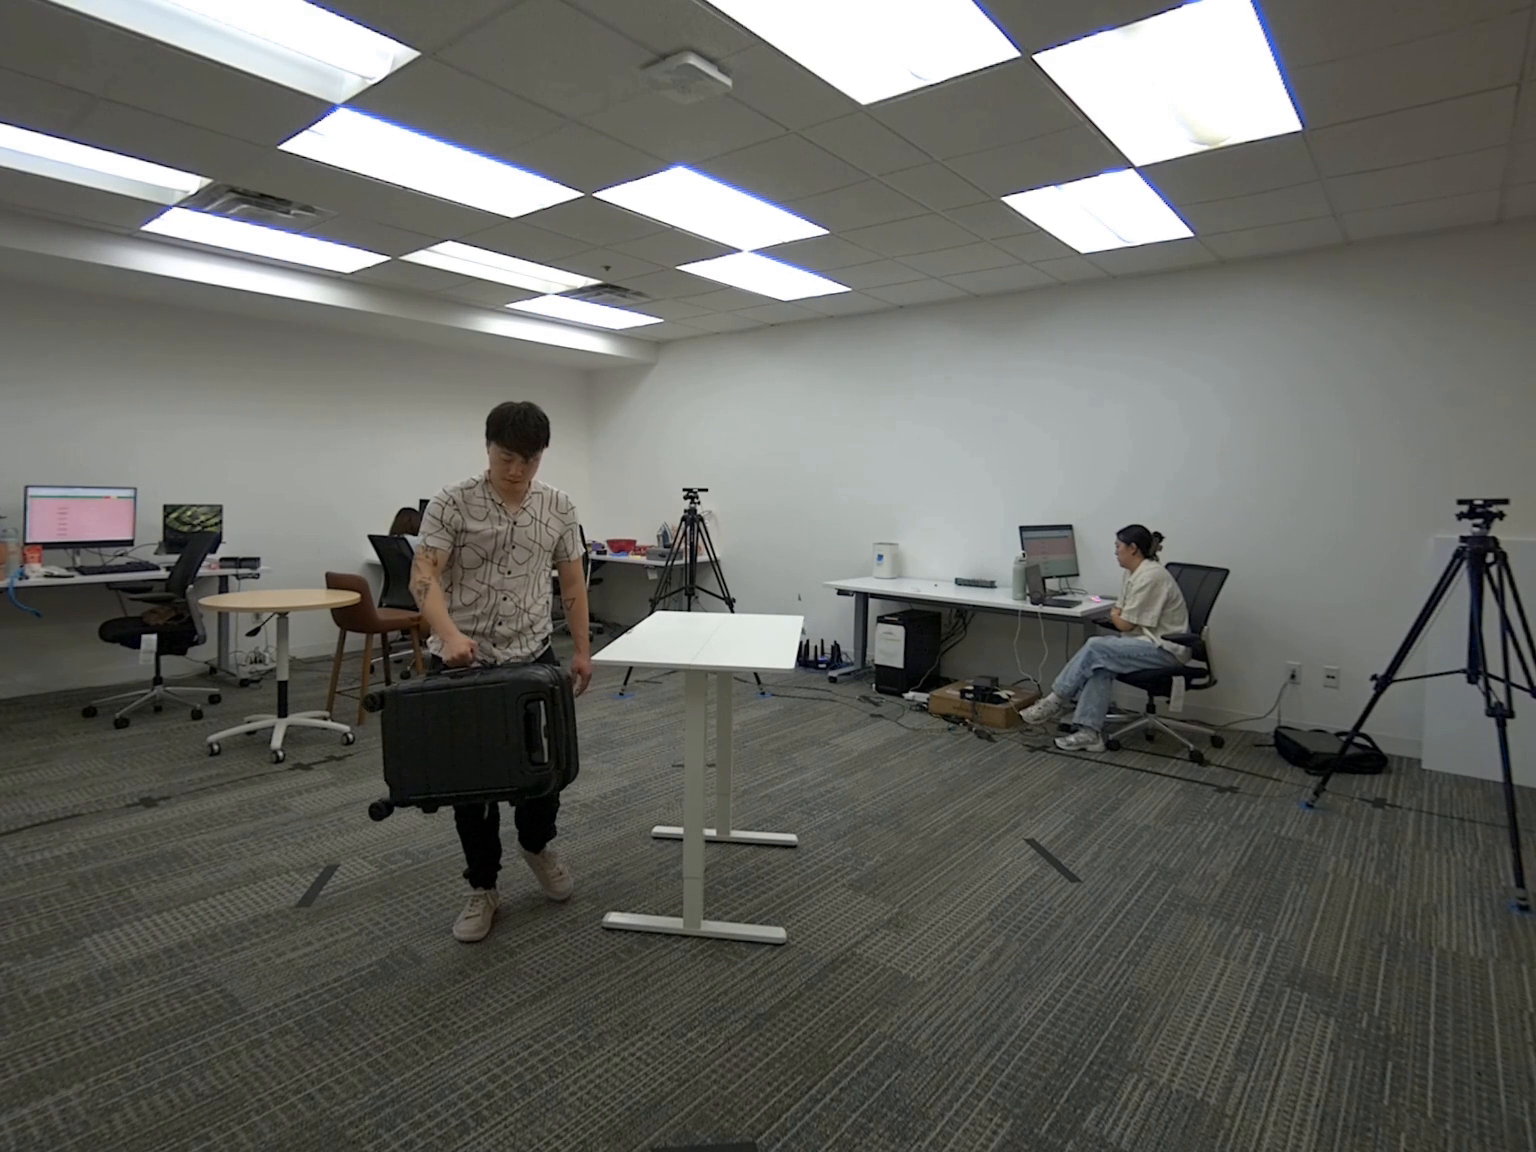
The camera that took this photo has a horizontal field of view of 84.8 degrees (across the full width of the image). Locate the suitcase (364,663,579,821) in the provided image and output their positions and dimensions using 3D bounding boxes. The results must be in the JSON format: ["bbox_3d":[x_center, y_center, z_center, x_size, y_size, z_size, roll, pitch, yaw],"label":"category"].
[{"bbox_3d":[-0.830,0.446,2.384,0.555,0.379,0.243,-10,-8,11],"label":"suitcase"}]
